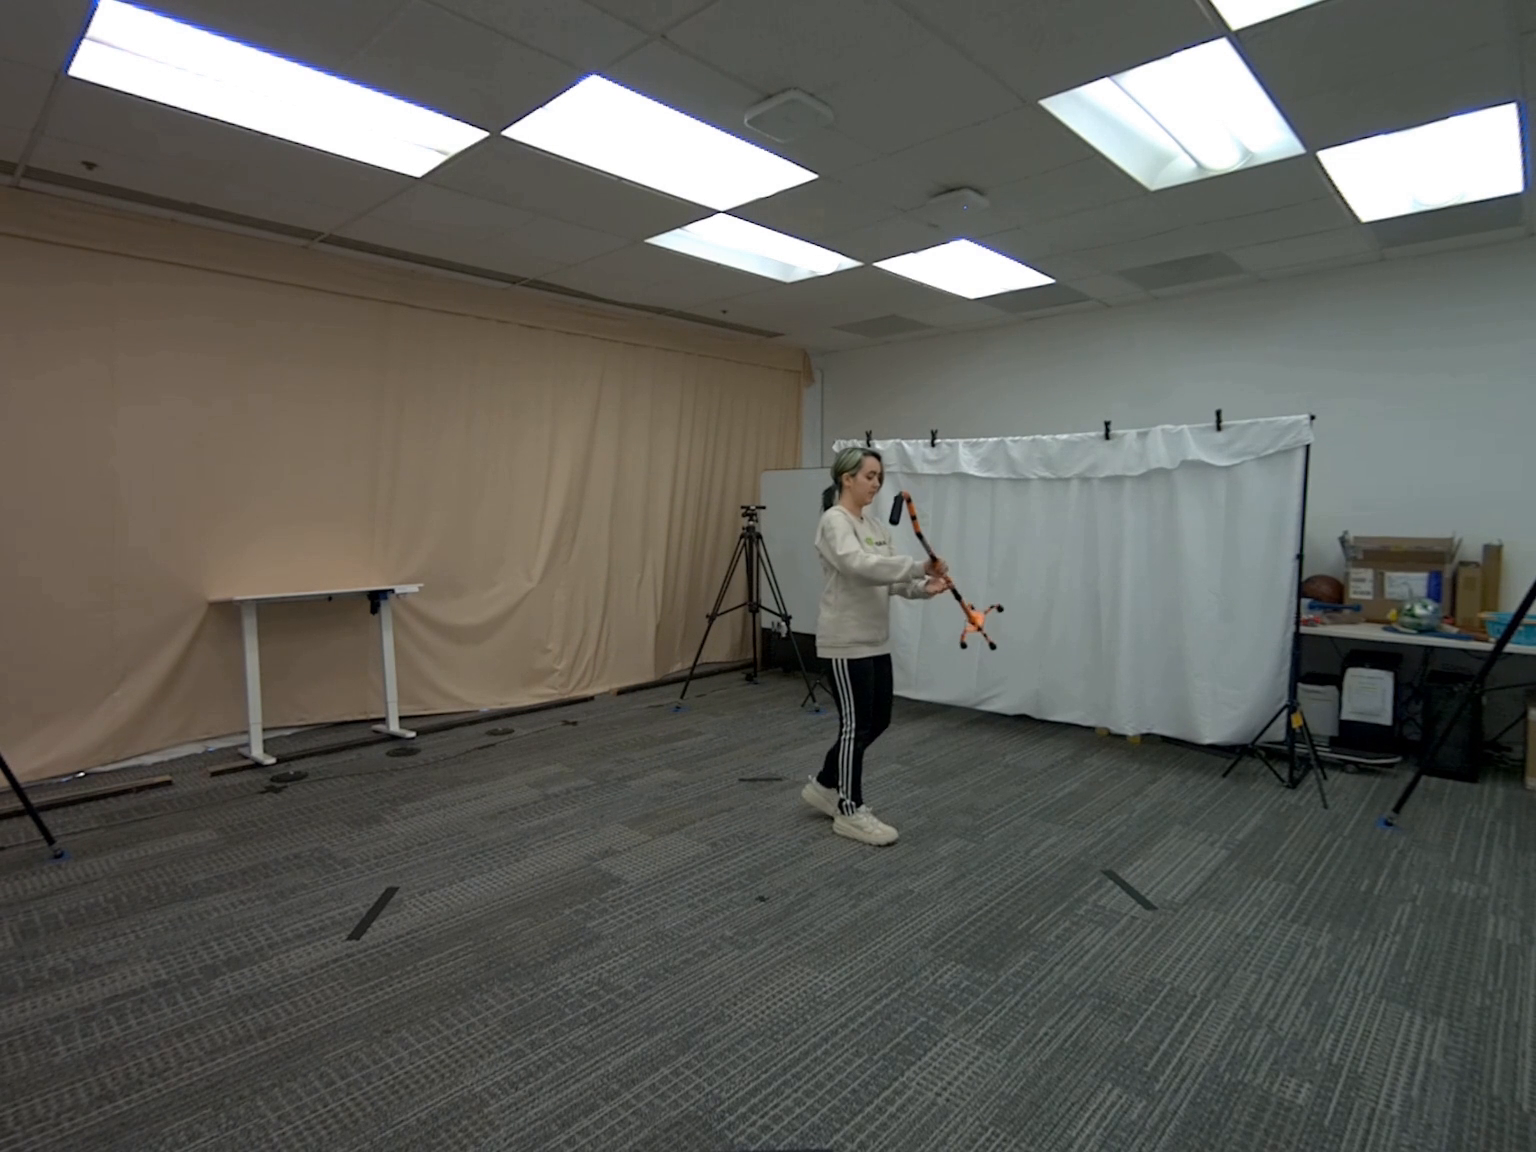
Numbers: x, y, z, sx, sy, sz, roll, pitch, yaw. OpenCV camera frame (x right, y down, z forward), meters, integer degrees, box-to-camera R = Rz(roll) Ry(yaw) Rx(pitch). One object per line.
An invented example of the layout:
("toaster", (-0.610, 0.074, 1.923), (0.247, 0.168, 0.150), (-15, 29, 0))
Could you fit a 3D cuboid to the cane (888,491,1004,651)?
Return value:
("cane", (0.673, -0.025, 3.208), (0.155, 0.208, 0.877), (-8, -39, 32))
